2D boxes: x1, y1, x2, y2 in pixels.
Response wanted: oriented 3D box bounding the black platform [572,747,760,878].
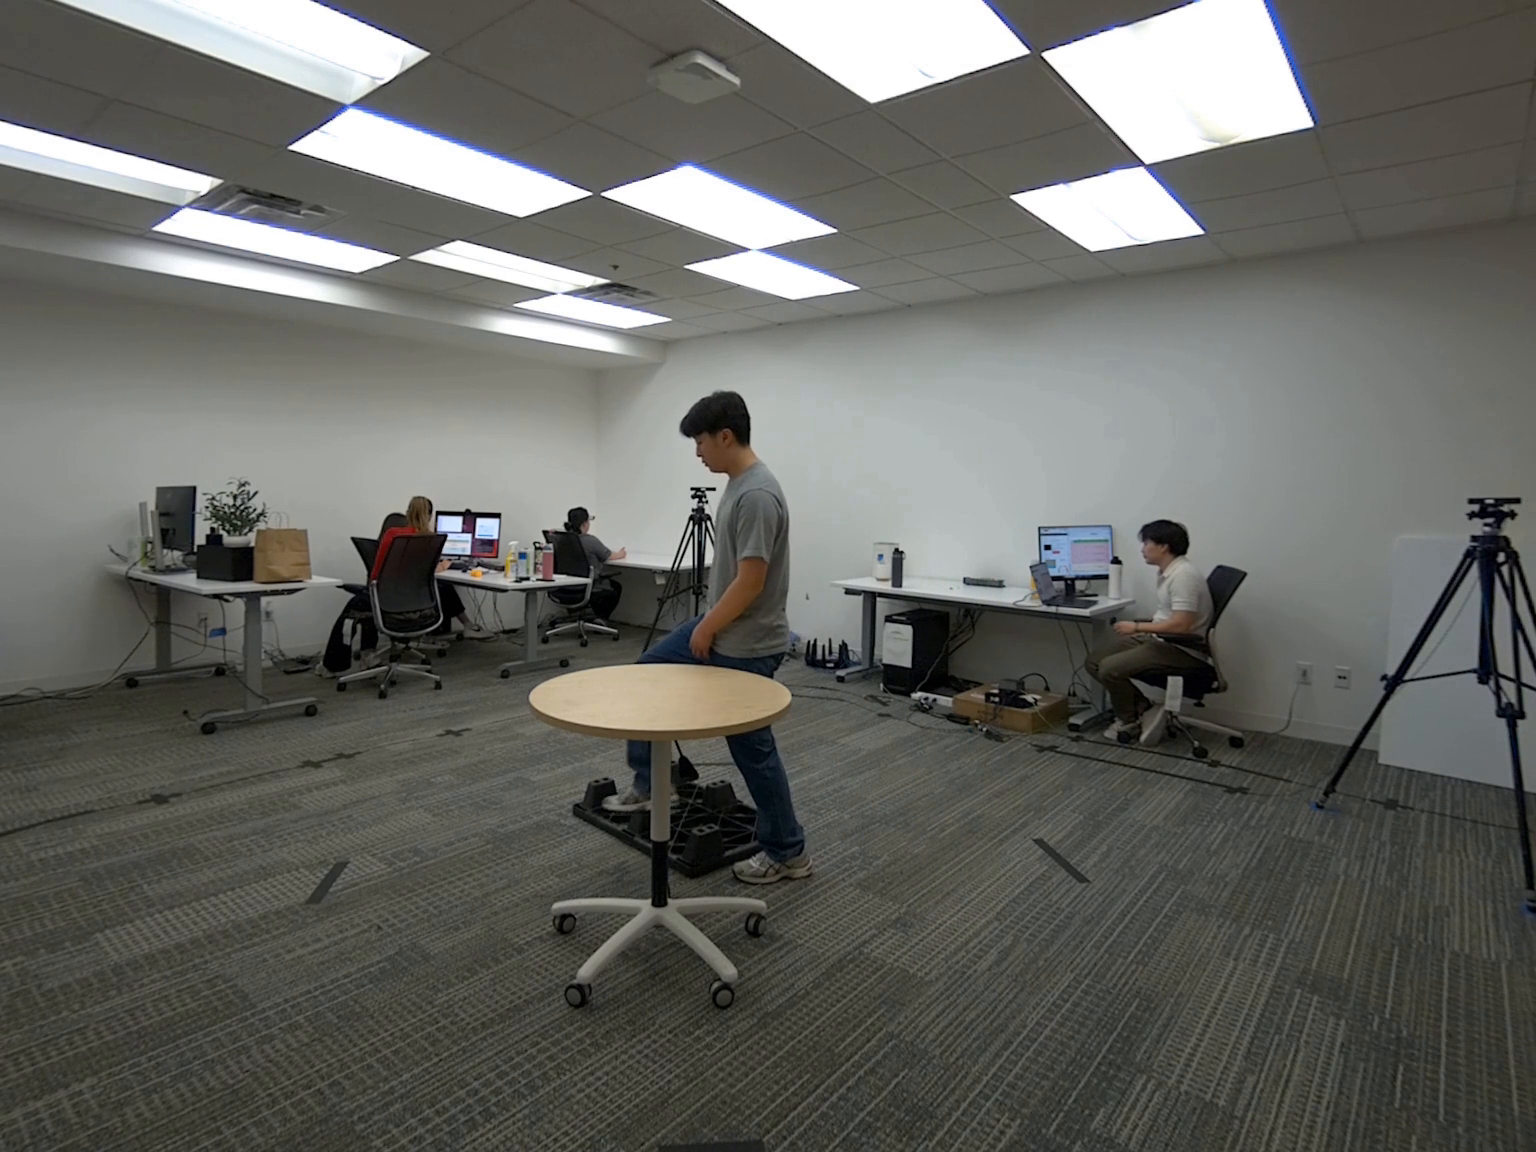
[{"bbox_3d":[-0.358,0.958,3.505,0.587,0.143,0.833,-4,7,-44],"label":"black platform"}]
